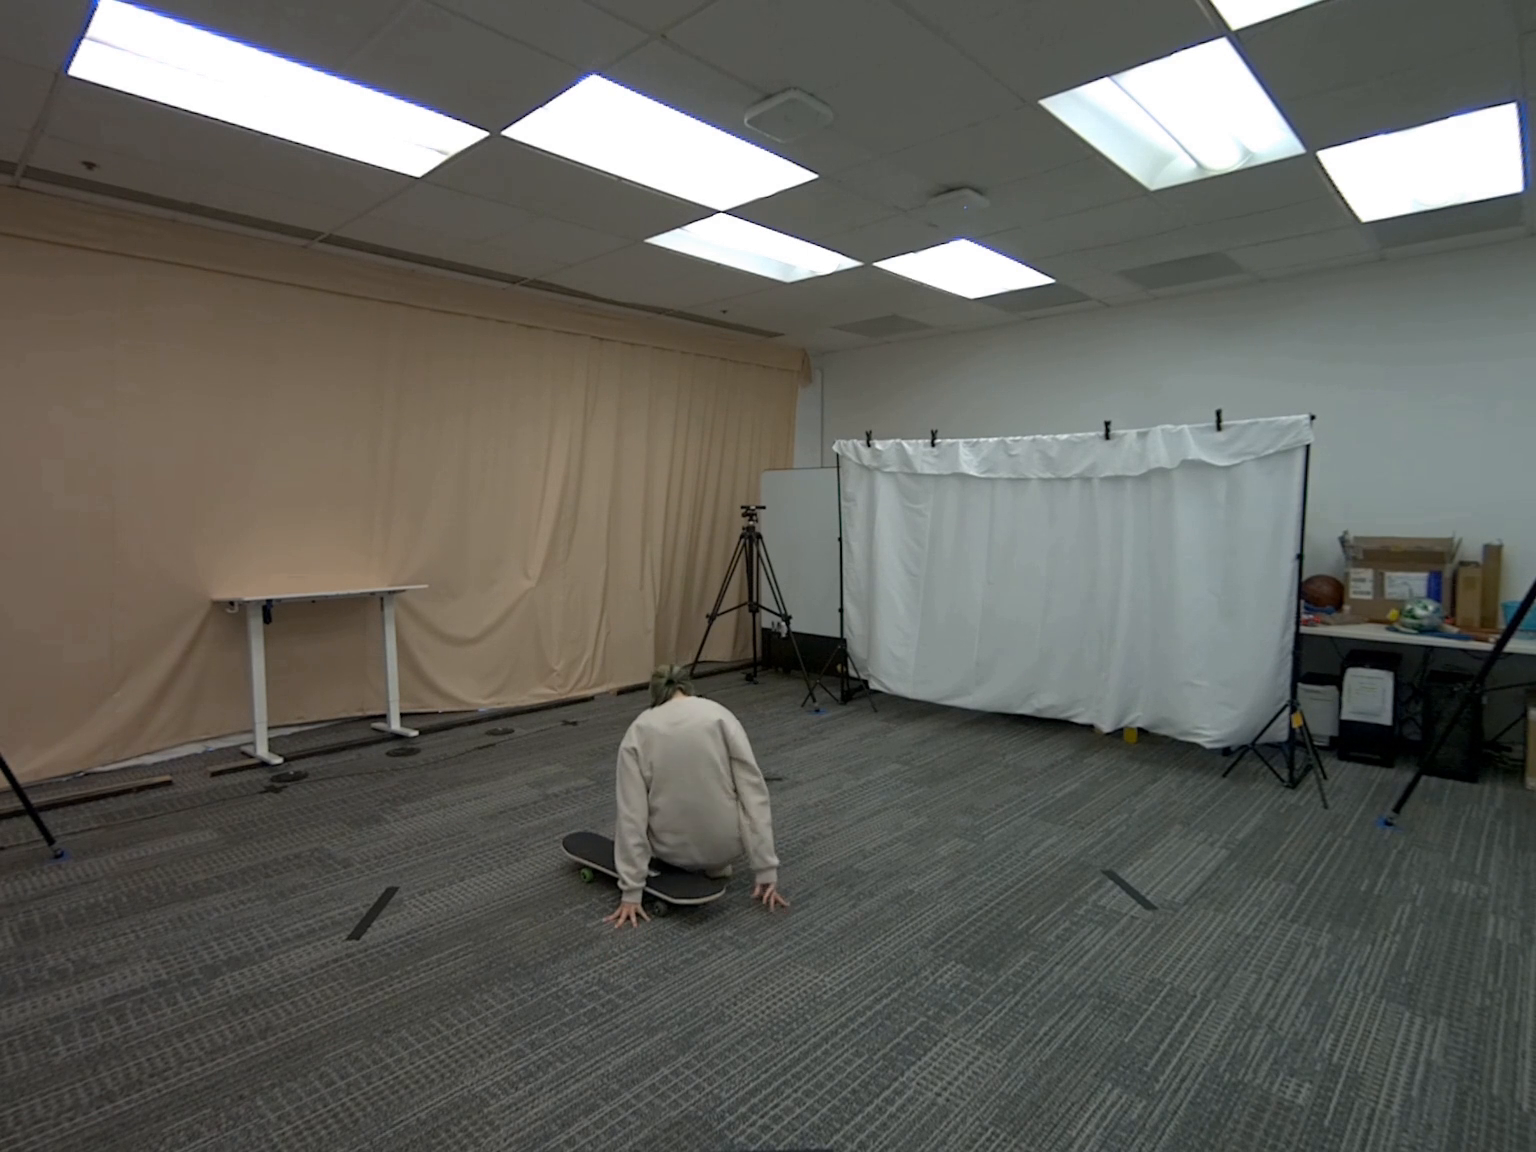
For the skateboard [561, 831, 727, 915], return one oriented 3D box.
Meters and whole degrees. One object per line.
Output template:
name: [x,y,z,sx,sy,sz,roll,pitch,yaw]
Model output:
skateboard: [-0.471,1.082,3.055,0.812,0.110,0.187,4,6,41]
